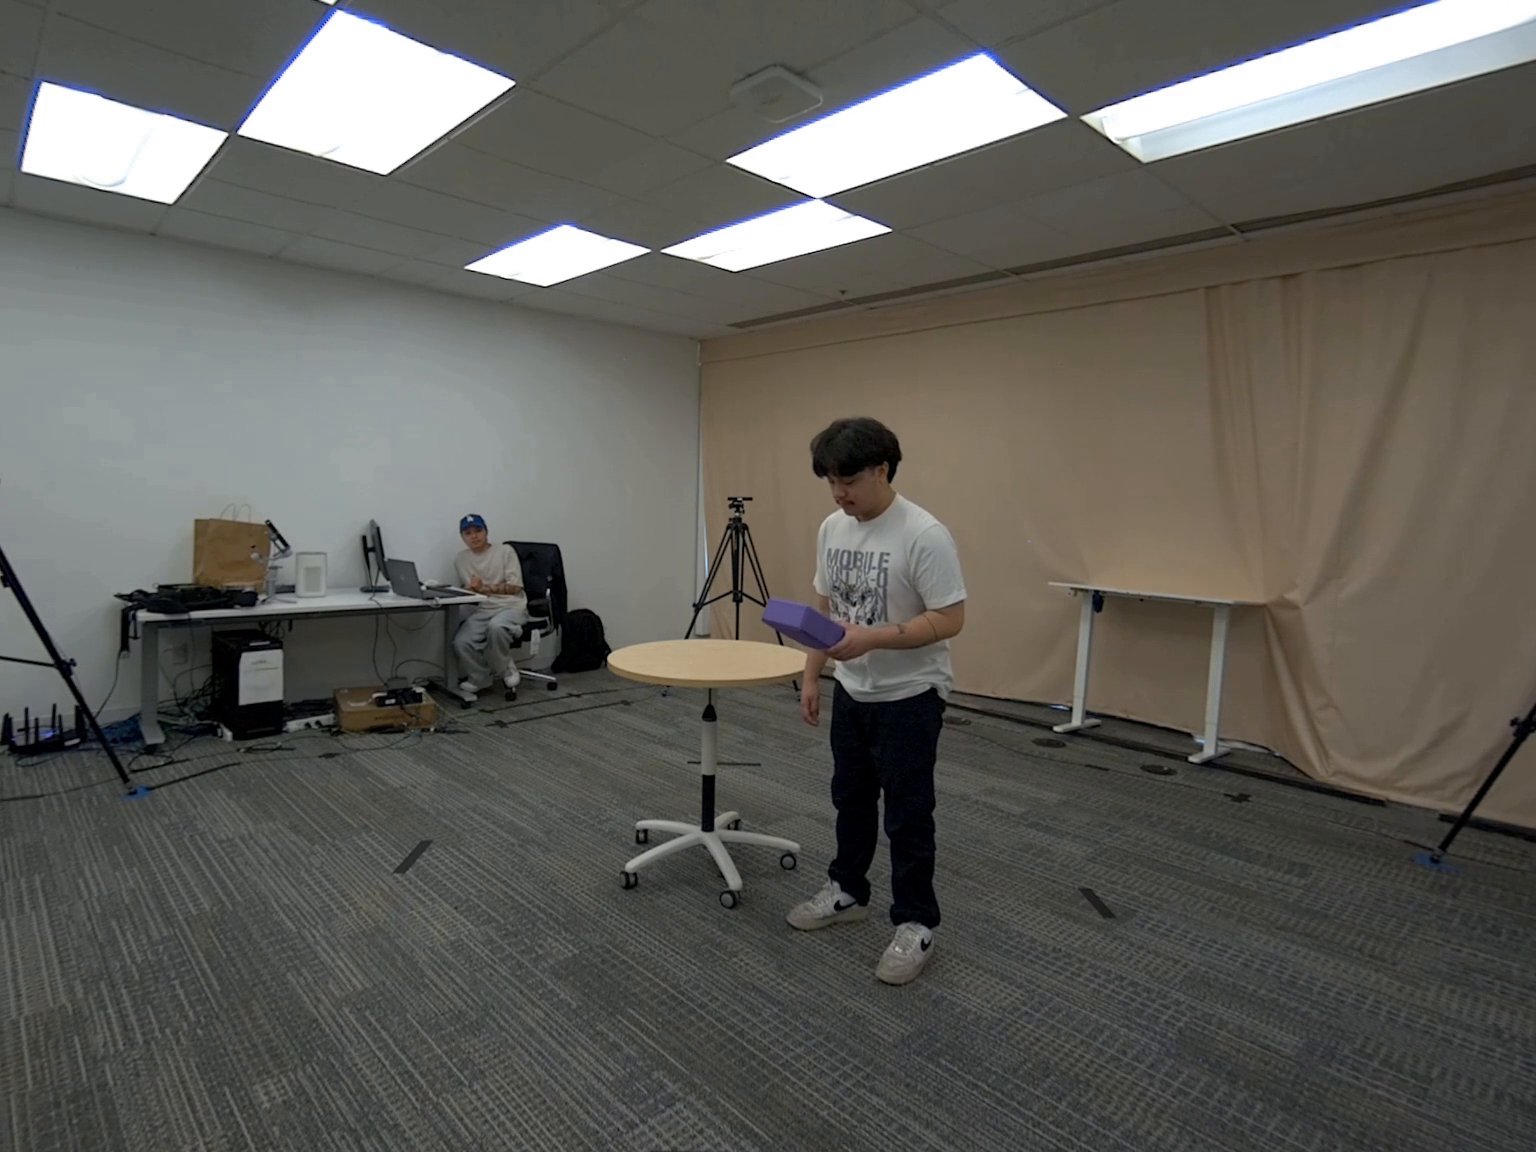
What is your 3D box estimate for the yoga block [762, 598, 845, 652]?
[{"bbox_3d":[0.109,0.145,2.344,0.153,0.077,0.222,12,-14,44],"label":"yoga block"}]
